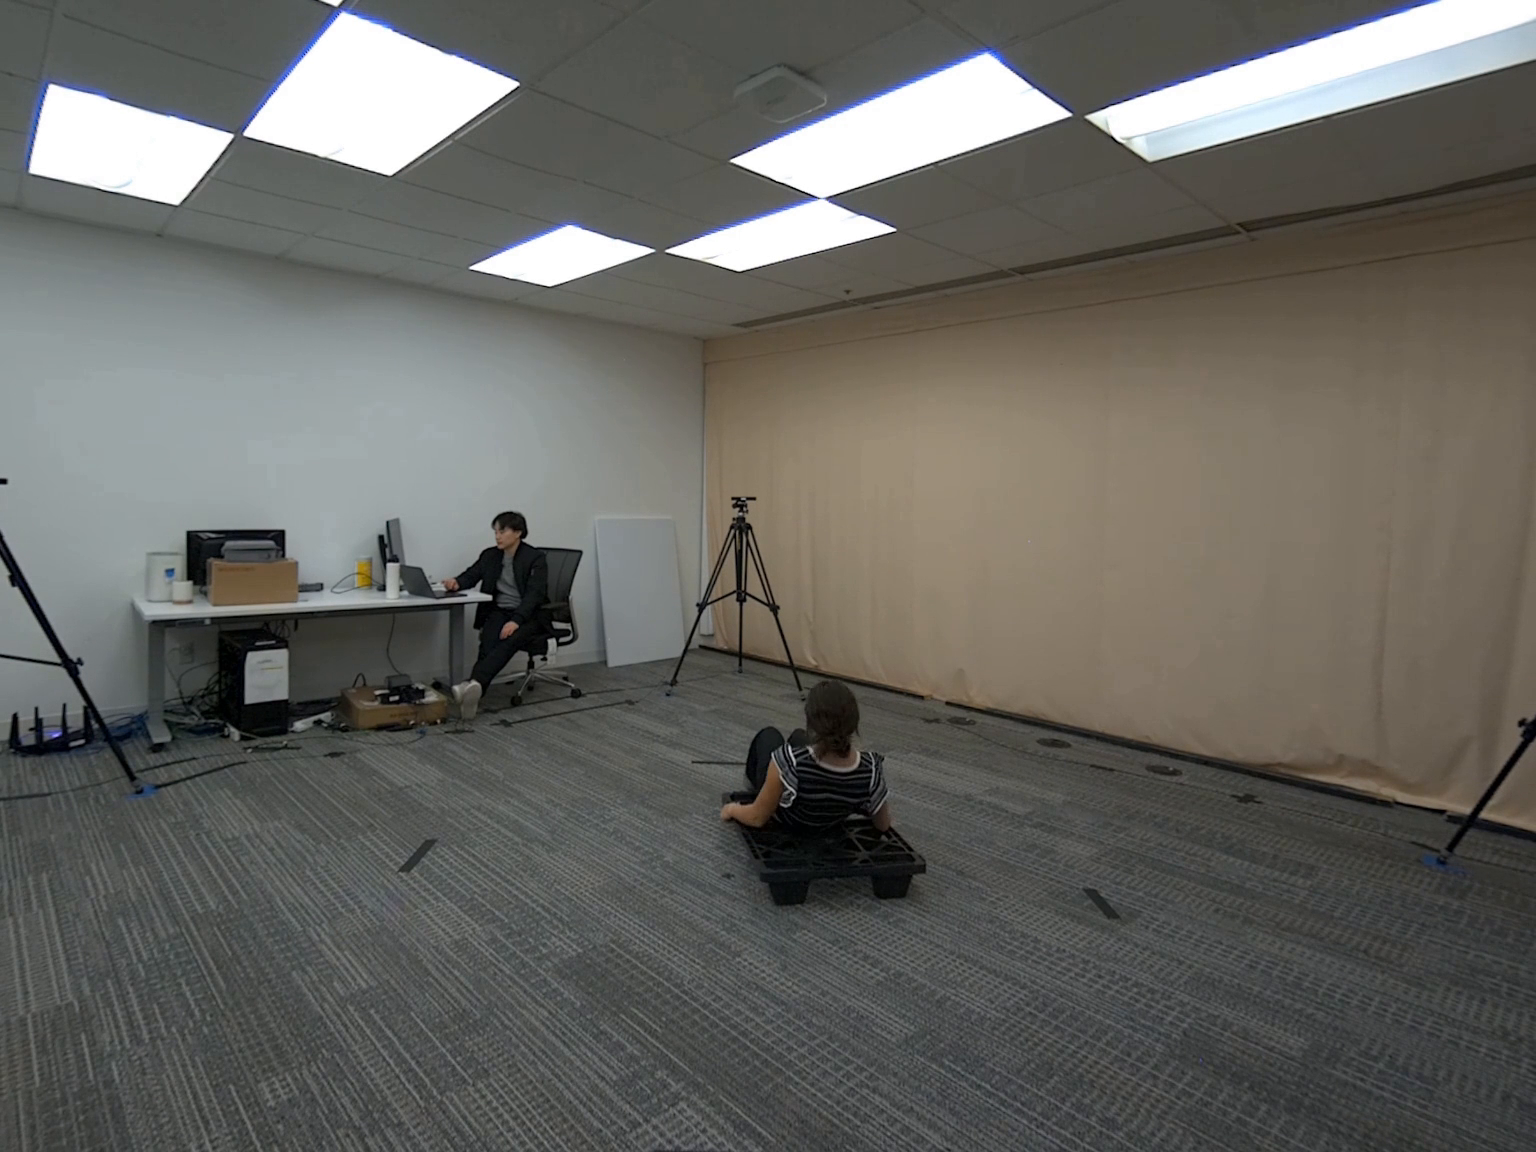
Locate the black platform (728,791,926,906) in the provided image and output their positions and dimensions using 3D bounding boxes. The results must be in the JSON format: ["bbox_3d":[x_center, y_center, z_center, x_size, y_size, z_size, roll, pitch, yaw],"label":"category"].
[{"bbox_3d":[0.167,1.030,3.277,0.600,0.143,0.815,1,4,-12],"label":"black platform"}]
